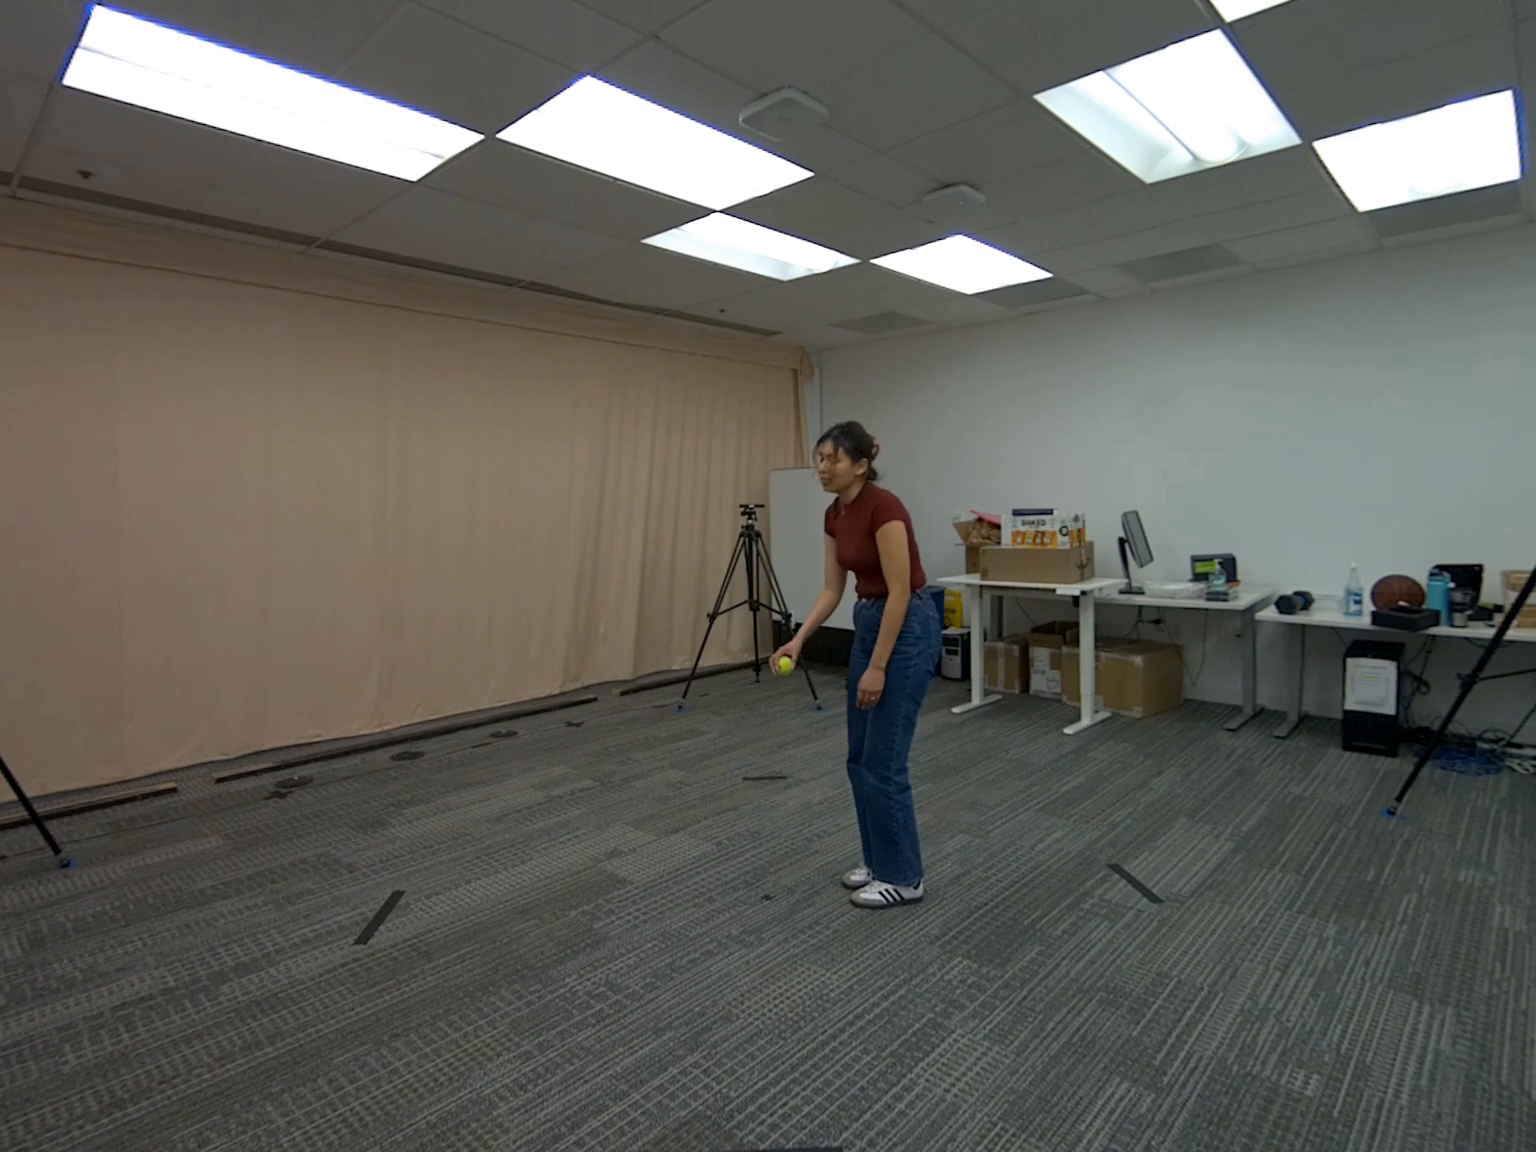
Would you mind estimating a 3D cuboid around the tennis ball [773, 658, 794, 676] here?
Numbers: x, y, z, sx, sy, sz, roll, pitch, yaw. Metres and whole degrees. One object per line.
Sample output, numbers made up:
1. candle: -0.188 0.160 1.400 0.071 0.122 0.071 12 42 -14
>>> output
1. tennis ball: 0.069 0.359 2.981 0.066 0.066 0.067 -1 4 -2
